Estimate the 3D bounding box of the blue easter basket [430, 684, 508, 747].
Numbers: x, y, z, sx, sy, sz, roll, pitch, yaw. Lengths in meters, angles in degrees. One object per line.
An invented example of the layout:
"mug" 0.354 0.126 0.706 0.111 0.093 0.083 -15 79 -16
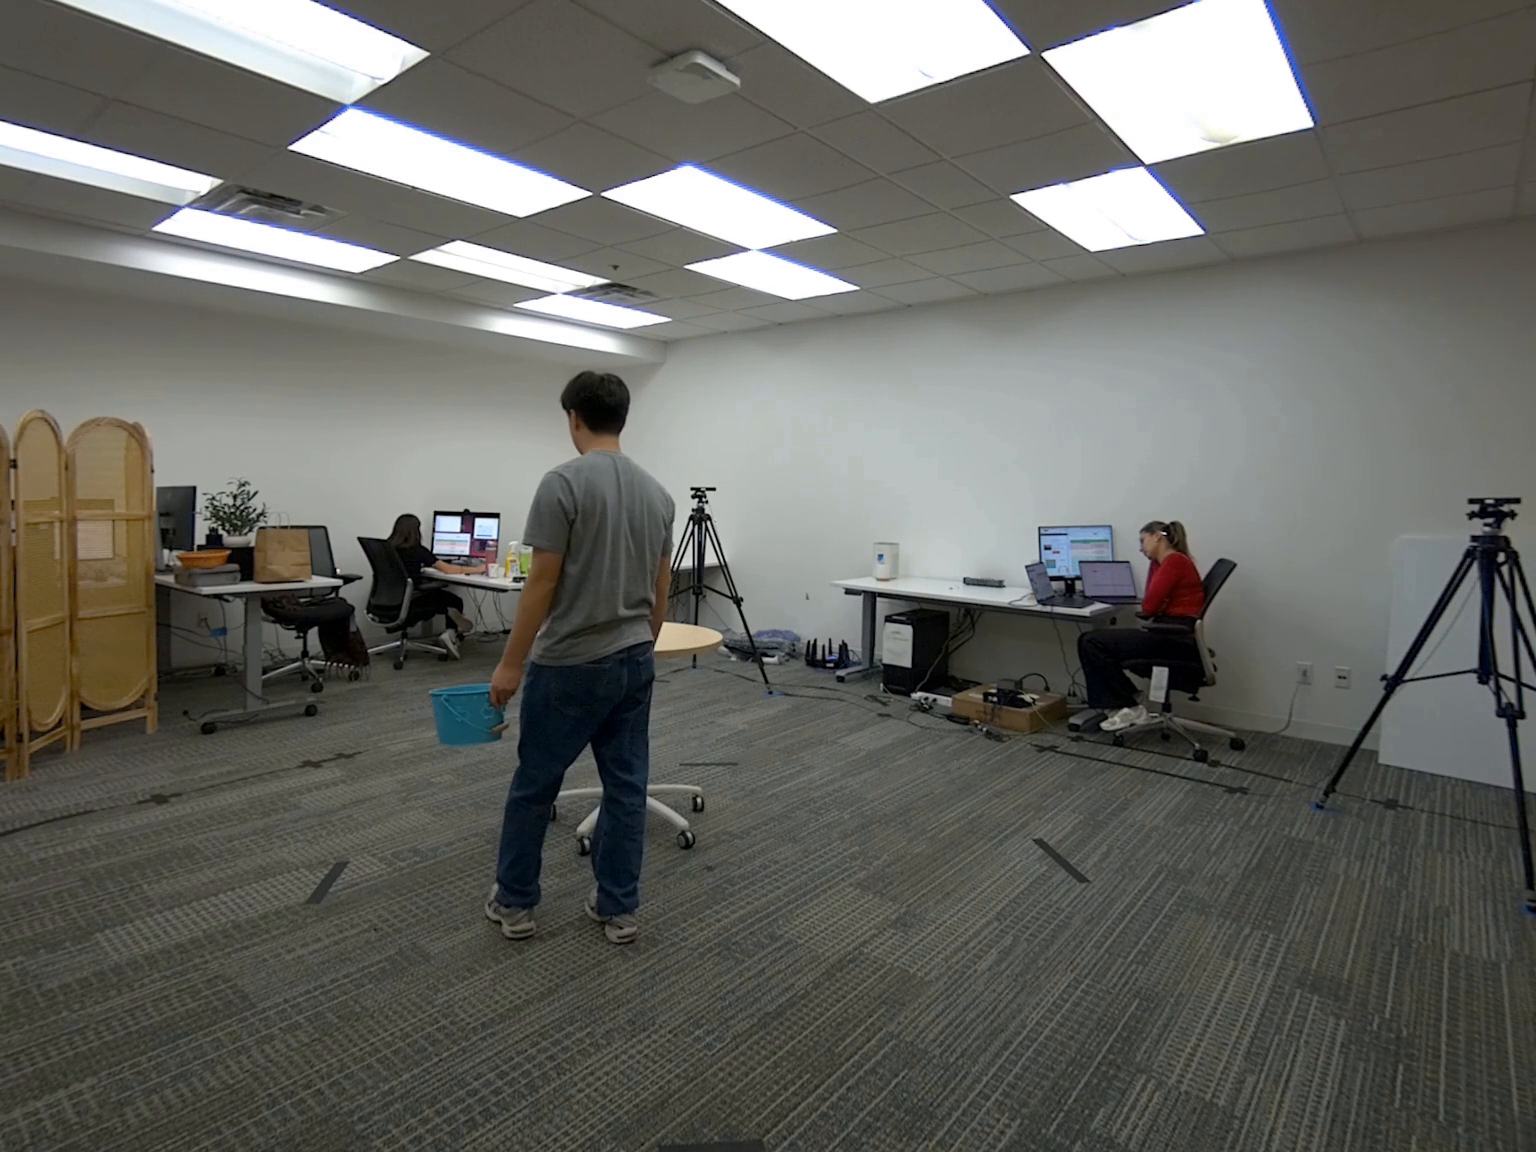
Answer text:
"blue easter basket" -0.899 0.408 2.520 0.243 0.156 0.243 -4 -1 -2
